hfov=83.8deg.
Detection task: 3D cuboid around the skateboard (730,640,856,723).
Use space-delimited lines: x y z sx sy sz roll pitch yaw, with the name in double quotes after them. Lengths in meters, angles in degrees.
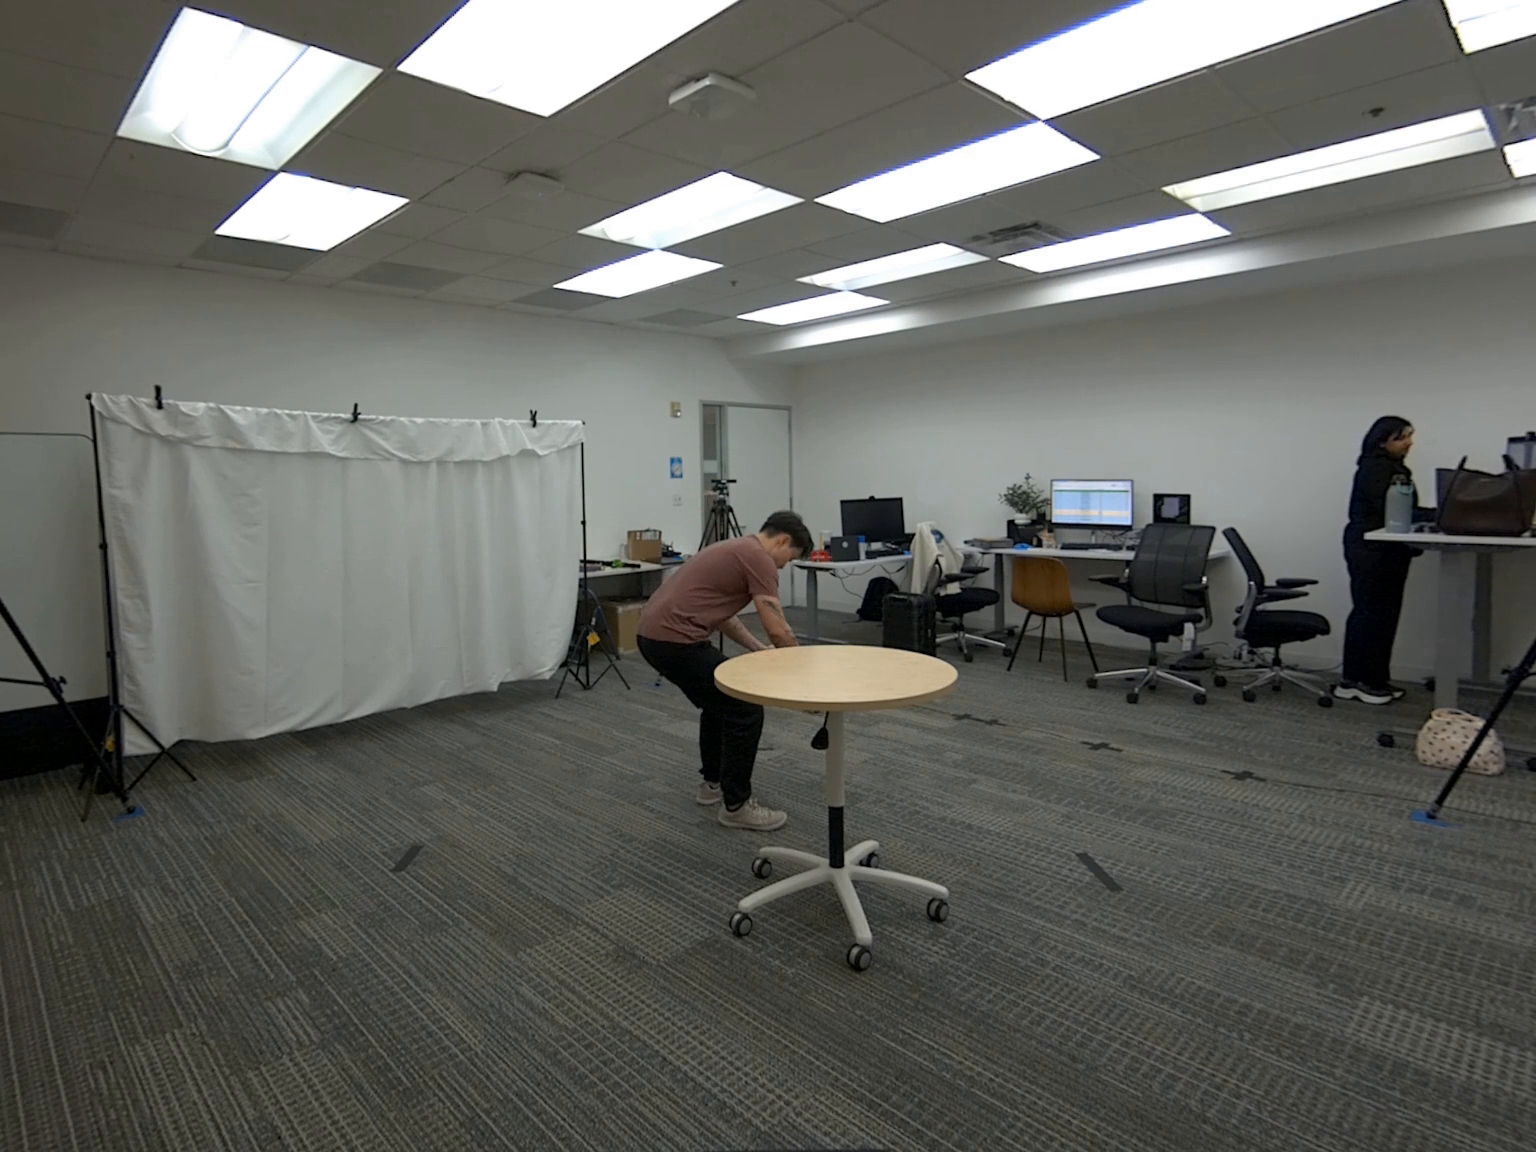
0.084 0.440 3.749 0.192 0.108 0.804 -33 17 -18 "skateboard"
